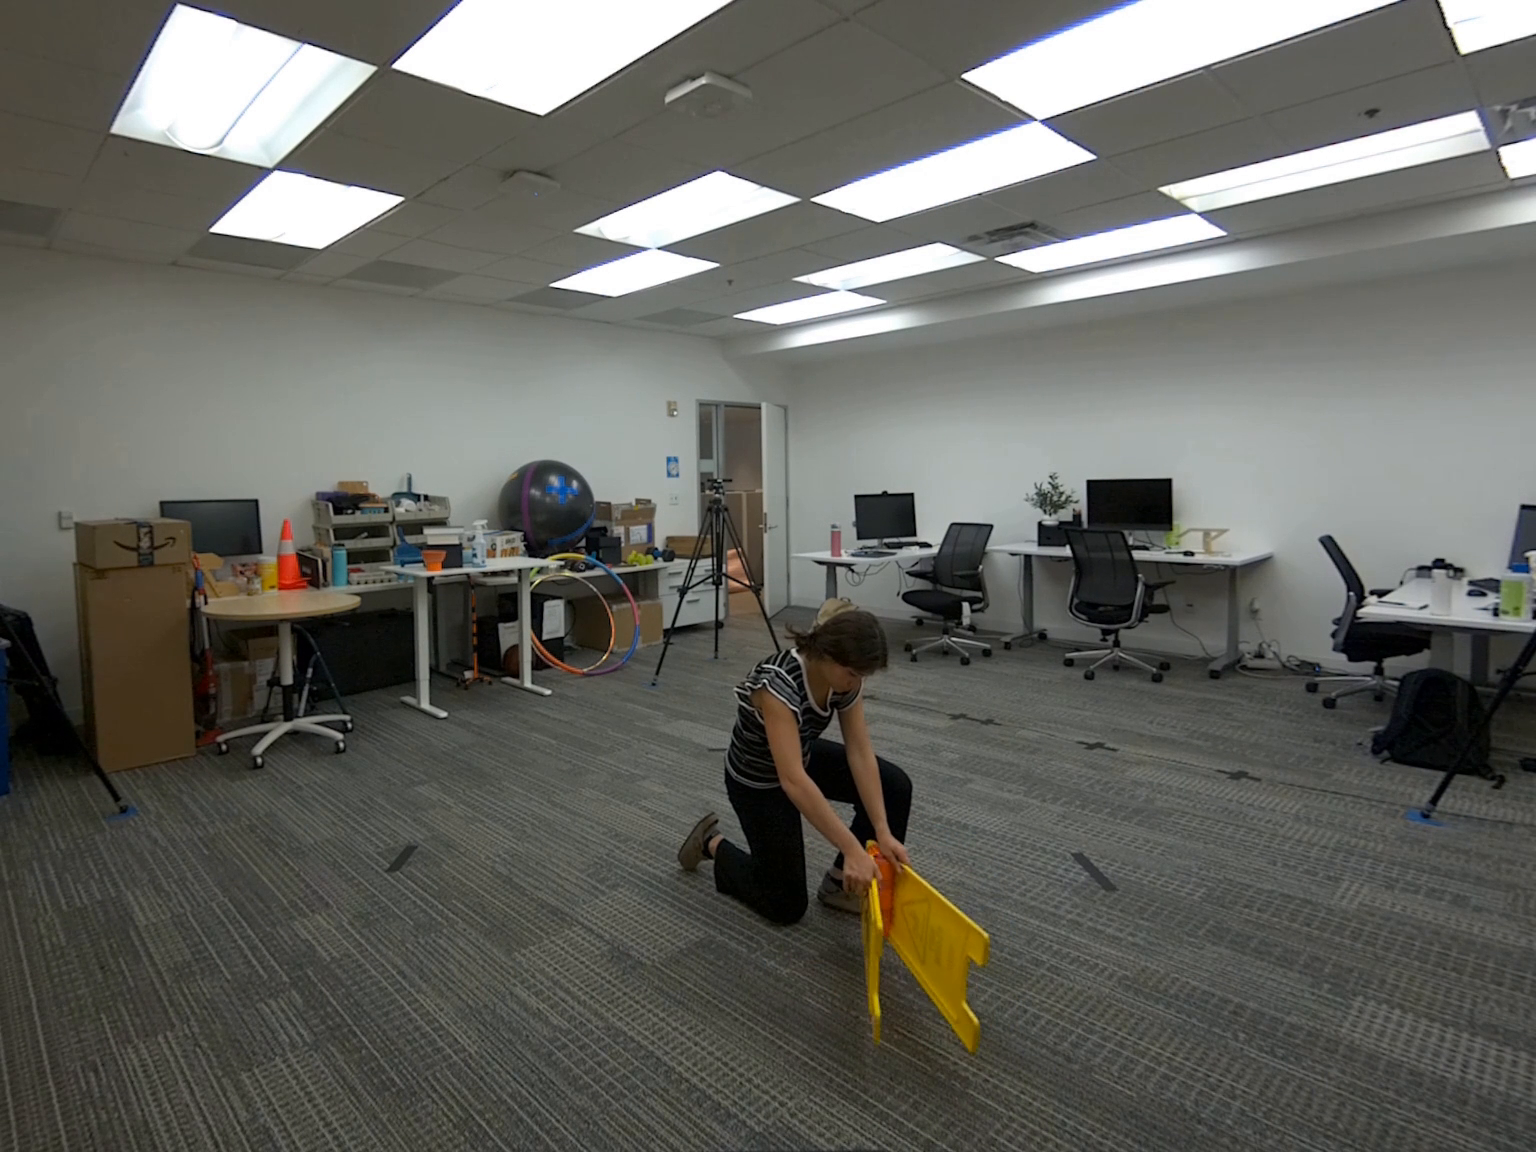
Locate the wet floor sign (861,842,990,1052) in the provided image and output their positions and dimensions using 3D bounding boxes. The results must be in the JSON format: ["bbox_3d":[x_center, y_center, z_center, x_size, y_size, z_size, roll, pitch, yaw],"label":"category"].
[{"bbox_3d":[0.344,0.941,2.282,0.289,0.281,0.650,5,4,-5],"label":"wet floor sign"}]
